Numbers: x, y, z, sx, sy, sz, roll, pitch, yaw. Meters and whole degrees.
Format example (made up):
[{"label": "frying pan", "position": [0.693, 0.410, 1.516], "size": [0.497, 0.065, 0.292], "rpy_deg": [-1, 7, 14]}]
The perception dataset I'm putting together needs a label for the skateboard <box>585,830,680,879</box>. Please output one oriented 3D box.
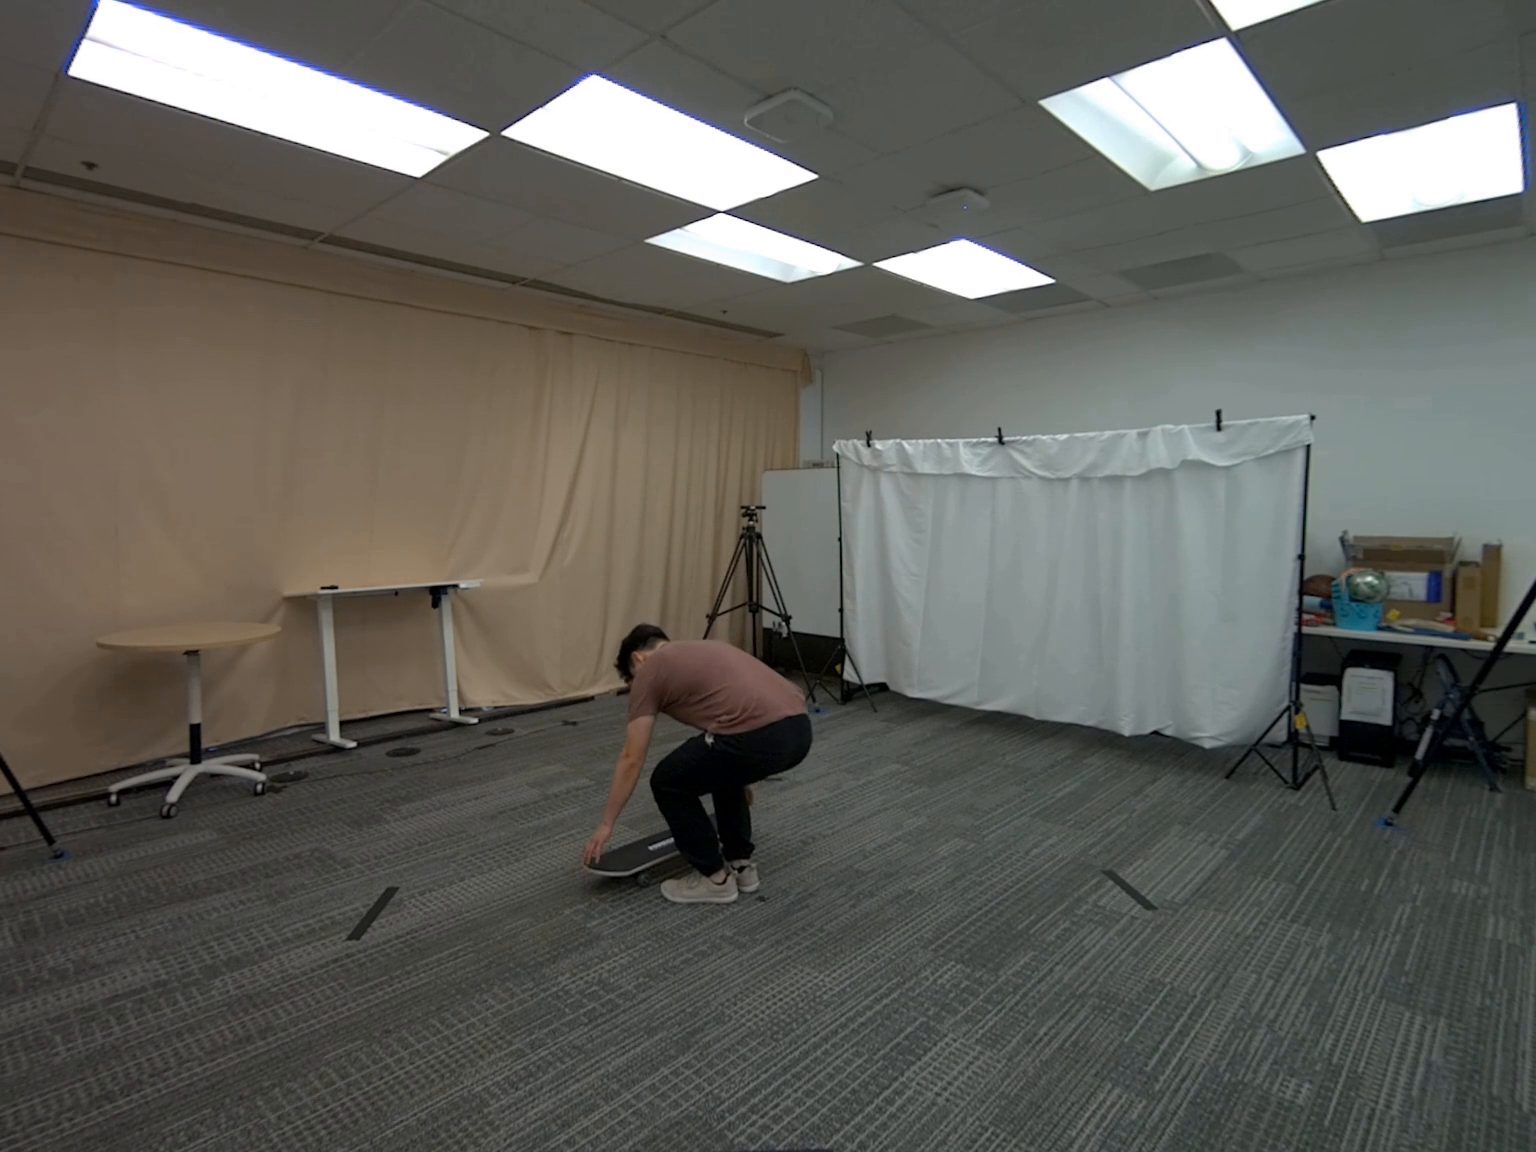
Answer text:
[{"label": "skateboard", "position": [-0.393, 1.073, 3.288], "size": [0.200, 0.110, 0.762], "rpy_deg": [2, 6, 45]}]
